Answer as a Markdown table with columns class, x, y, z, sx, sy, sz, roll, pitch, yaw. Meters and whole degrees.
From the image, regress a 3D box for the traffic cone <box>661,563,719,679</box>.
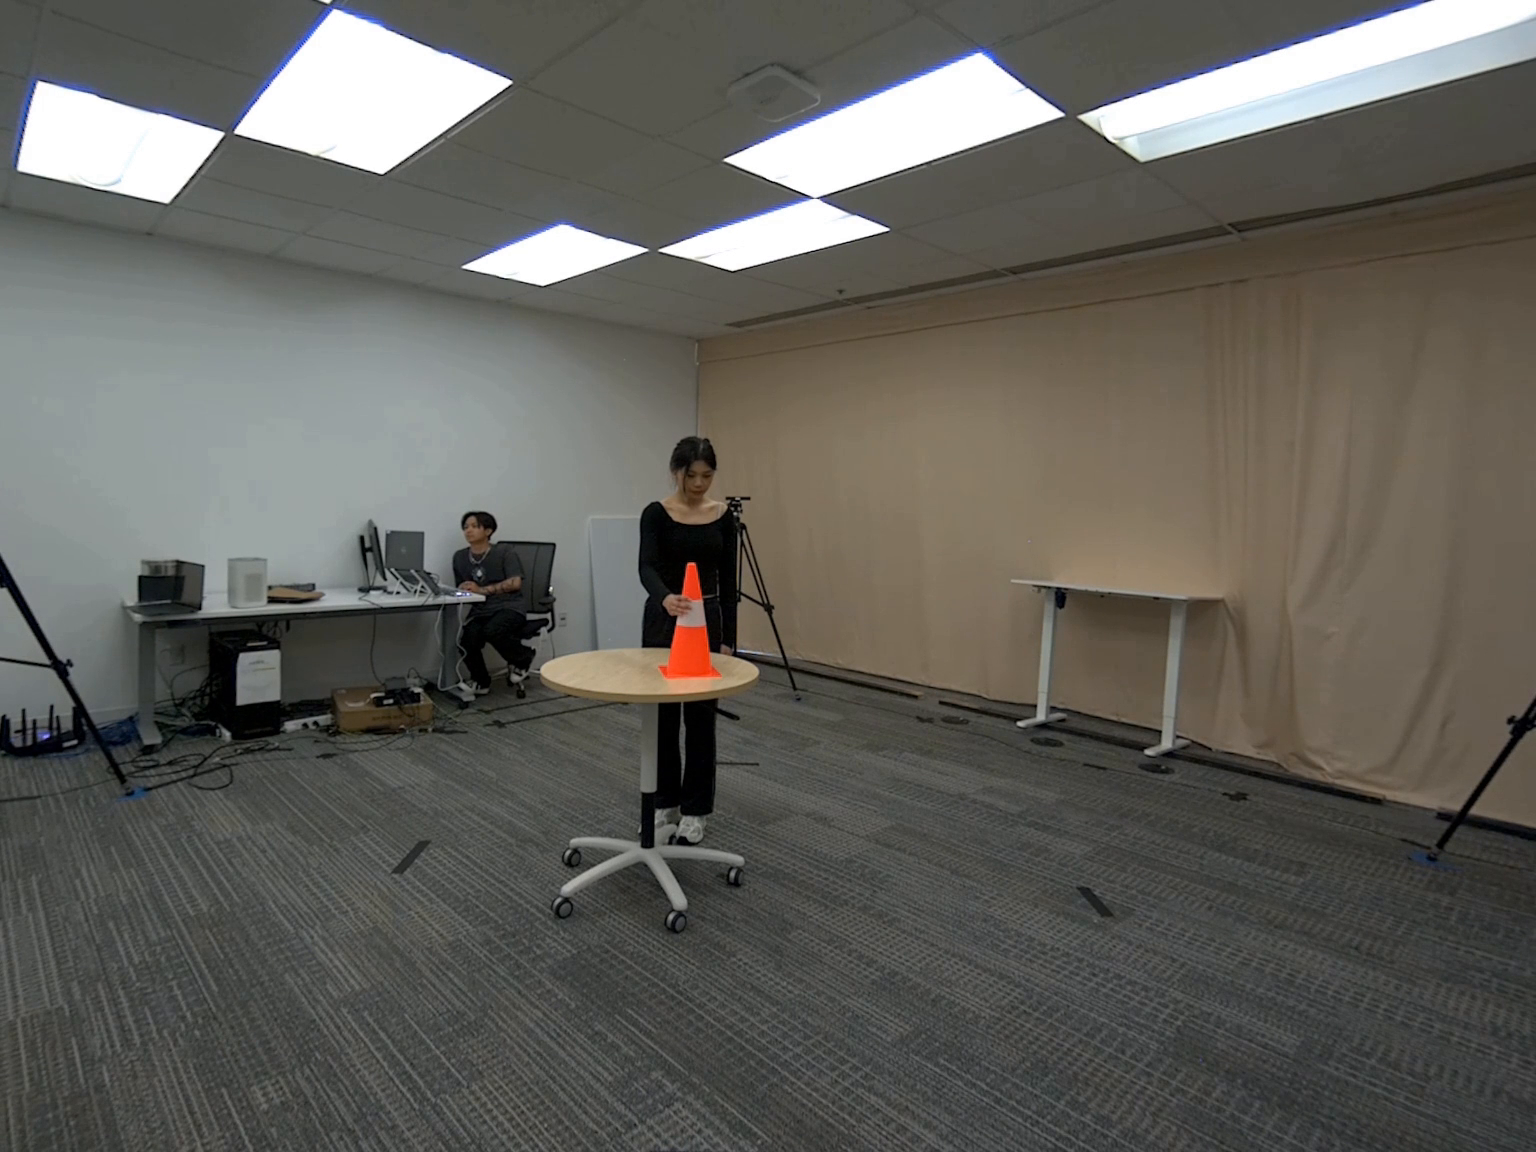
| class | x | y | z | sx | sy | sz | roll | pitch | yaw |
| --- | --- | --- | --- | --- | --- | --- | --- | --- | --- |
| traffic cone | -0.288 | 0.150 | 2.929 | 0.203 | 0.382 | 0.206 | 1 | 5 | -13 |
